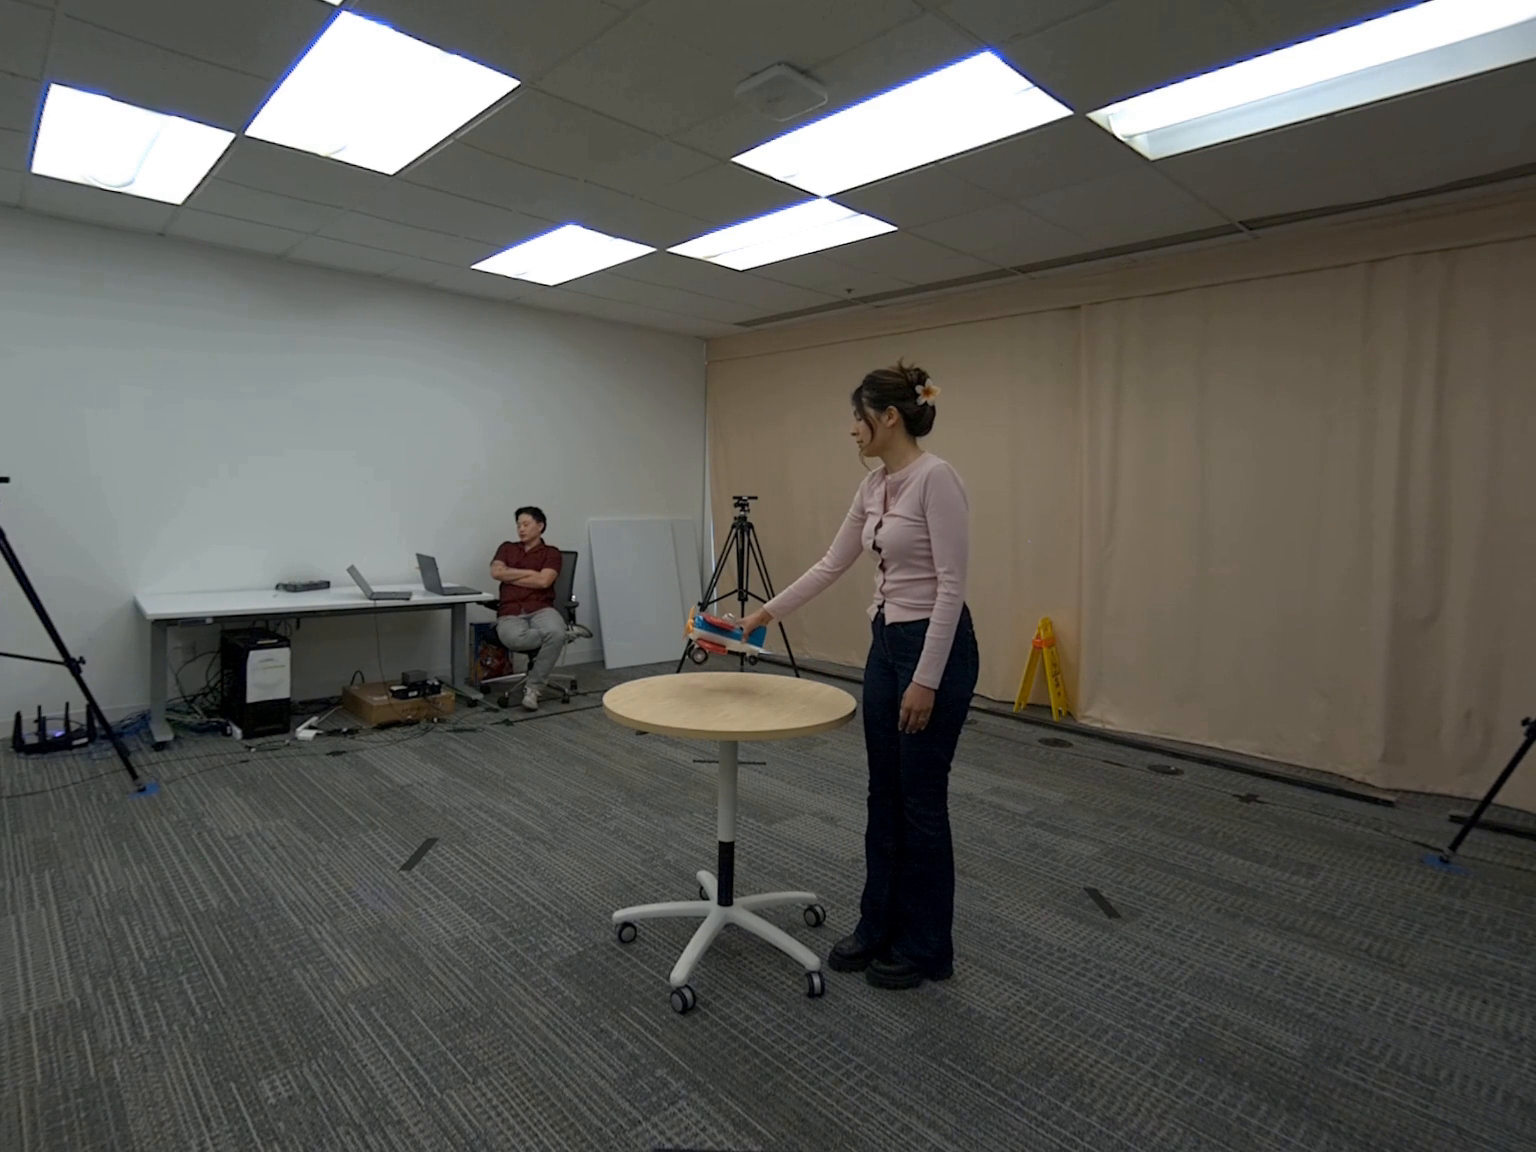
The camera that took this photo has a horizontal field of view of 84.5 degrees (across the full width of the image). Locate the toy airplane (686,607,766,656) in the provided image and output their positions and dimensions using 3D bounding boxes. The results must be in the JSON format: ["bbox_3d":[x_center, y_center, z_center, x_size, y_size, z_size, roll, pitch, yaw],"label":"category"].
[{"bbox_3d":[-0.147,0.201,2.686,0.253,0.156,0.257,3,3,-40],"label":"toy airplane"}]
